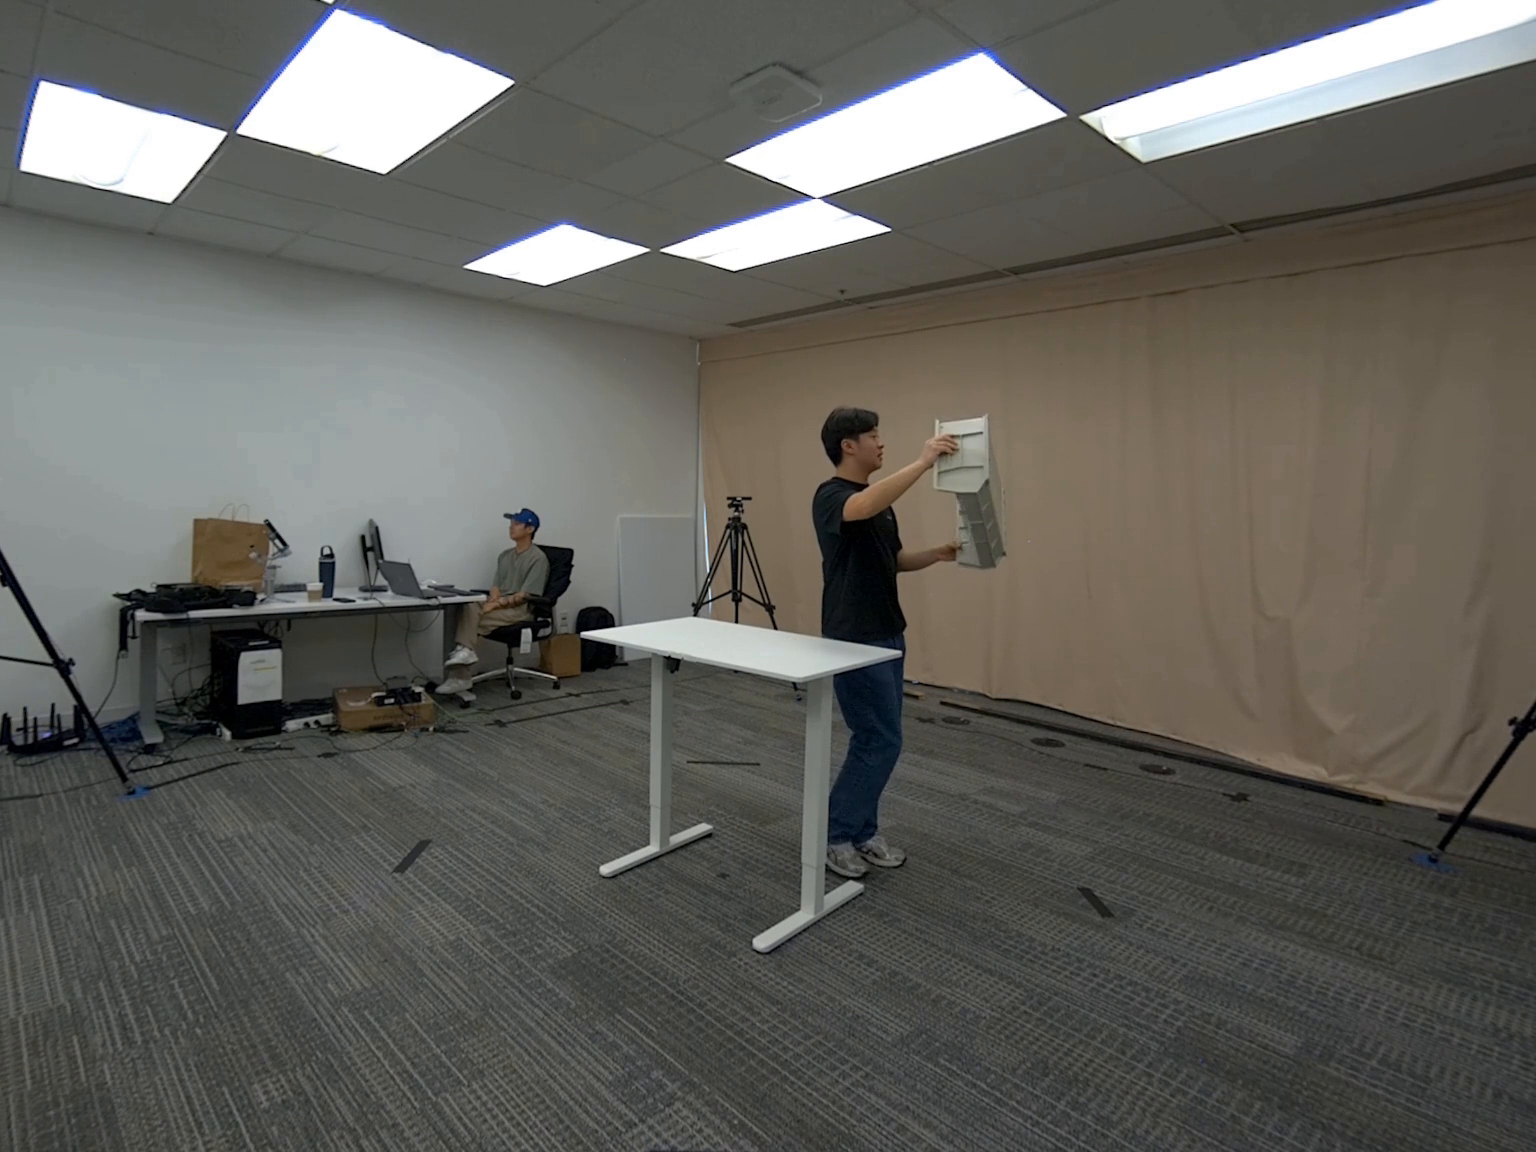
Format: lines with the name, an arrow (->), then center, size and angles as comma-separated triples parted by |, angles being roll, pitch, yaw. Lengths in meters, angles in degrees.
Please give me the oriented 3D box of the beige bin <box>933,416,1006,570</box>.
beige bin -> 0.709, -0.292, 2.998 | 0.192, 0.383, 0.409 | -6, -41, 22
